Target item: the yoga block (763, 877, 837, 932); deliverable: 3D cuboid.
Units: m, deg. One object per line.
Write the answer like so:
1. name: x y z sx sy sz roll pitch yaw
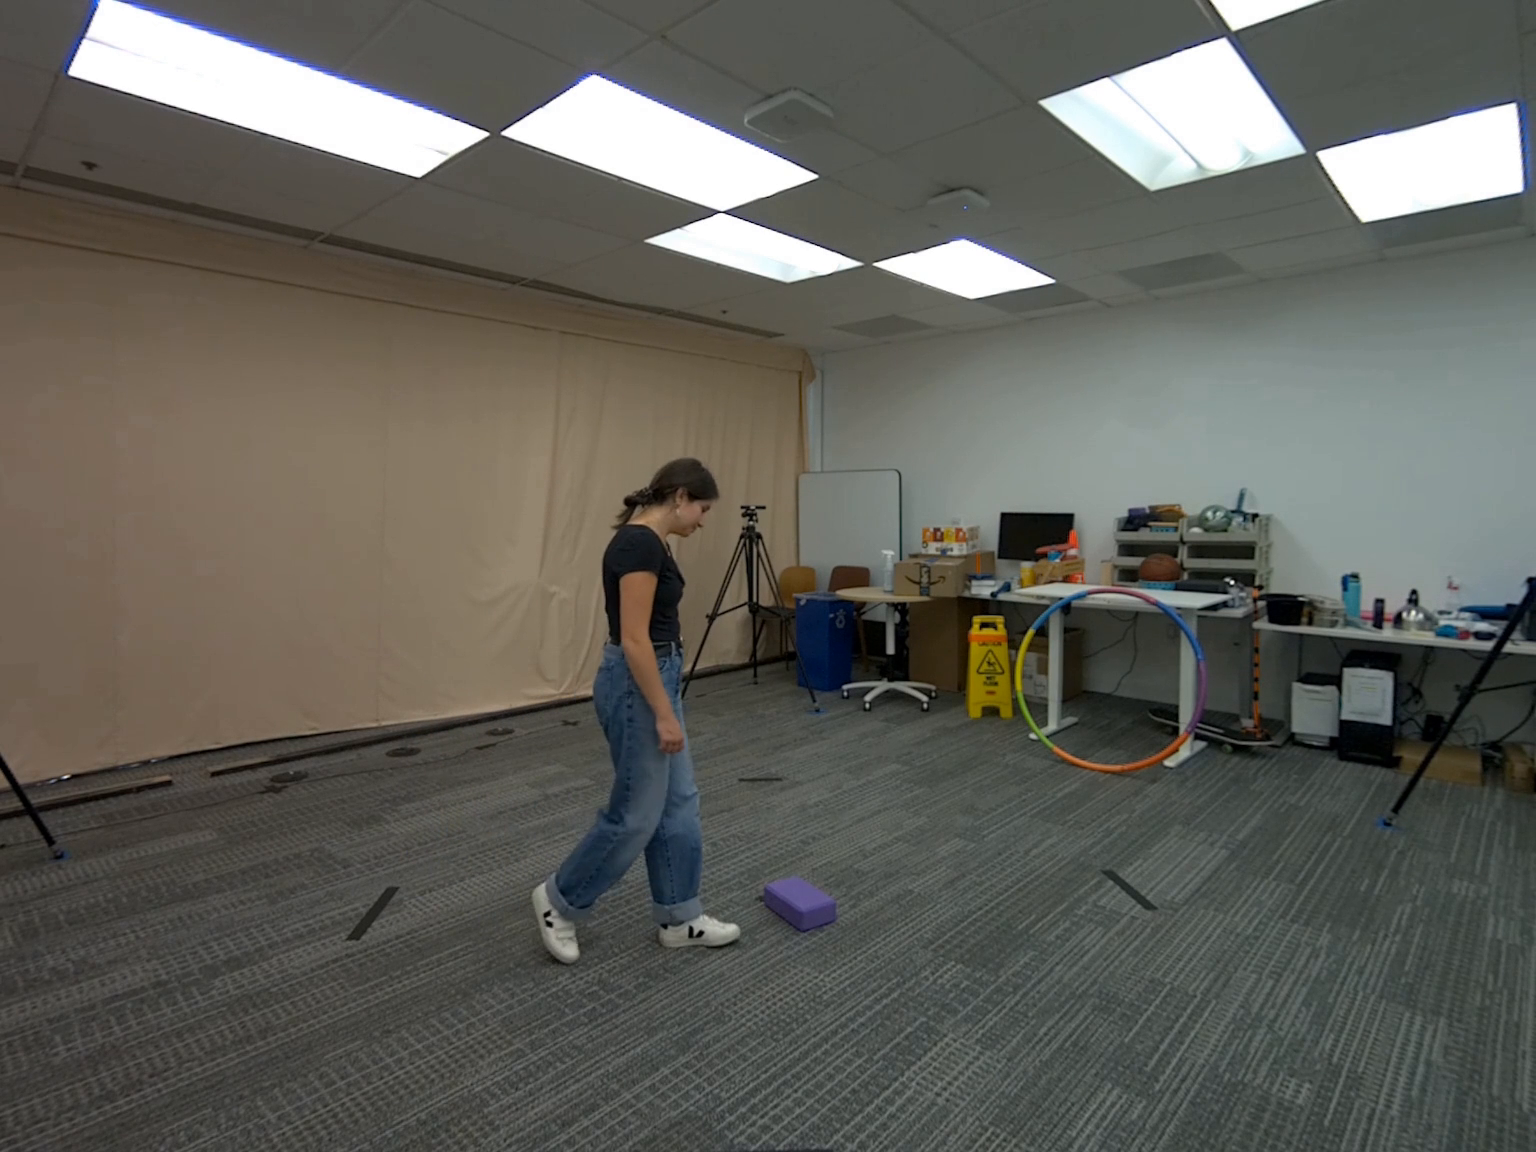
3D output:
1. yoga block: 0.117 1.114 2.871 0.145 0.076 0.236 -4 6 -32
